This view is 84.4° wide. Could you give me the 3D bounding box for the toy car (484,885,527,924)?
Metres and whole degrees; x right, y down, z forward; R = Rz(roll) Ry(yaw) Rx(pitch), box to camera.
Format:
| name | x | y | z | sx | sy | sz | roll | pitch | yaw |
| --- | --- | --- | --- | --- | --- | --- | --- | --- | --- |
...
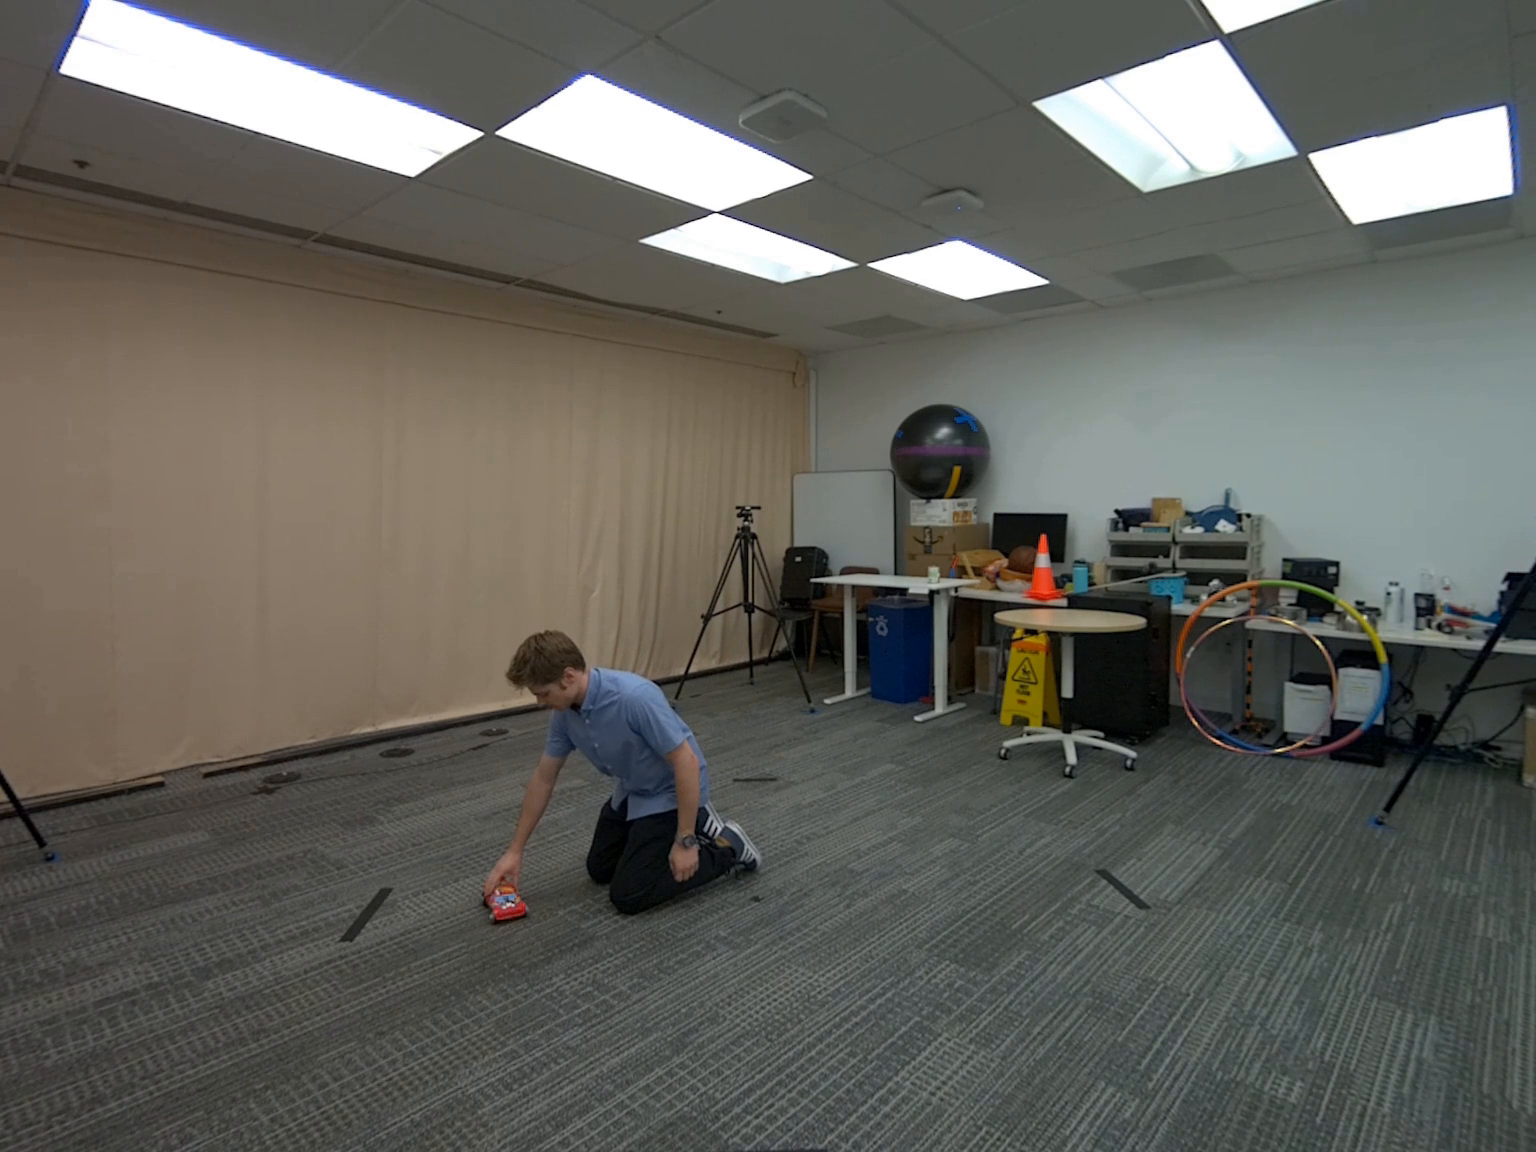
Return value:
| name | x | y | z | sx | sy | sz | roll | pitch | yaw |
| --- | --- | --- | --- | --- | --- | --- | --- | --- | --- |
| toy car | -0.921 | 1.131 | 2.927 | 0.127 | 0.083 | 0.263 | -3 | 14 | -28 |
